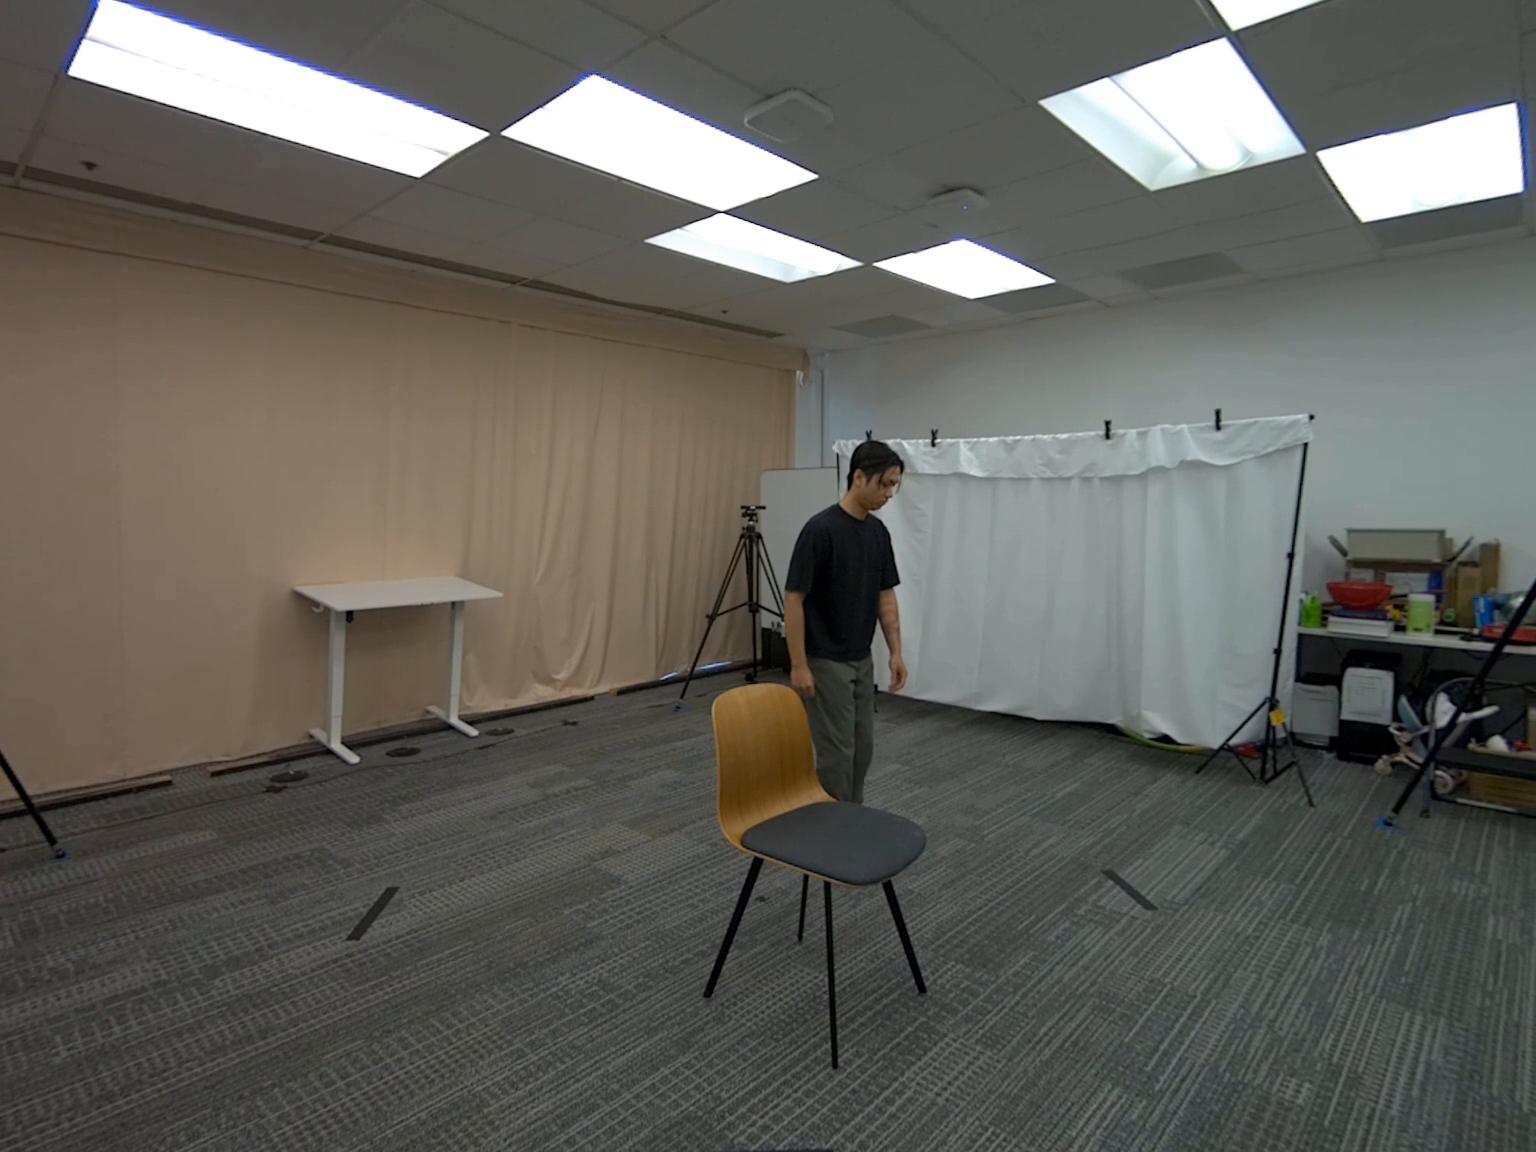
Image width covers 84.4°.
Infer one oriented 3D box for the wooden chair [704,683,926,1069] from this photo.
[{"bbox_3d":[0.144,0.771,2.360,0.539,0.877,0.463,-3,0,41],"label":"wooden chair"}]
